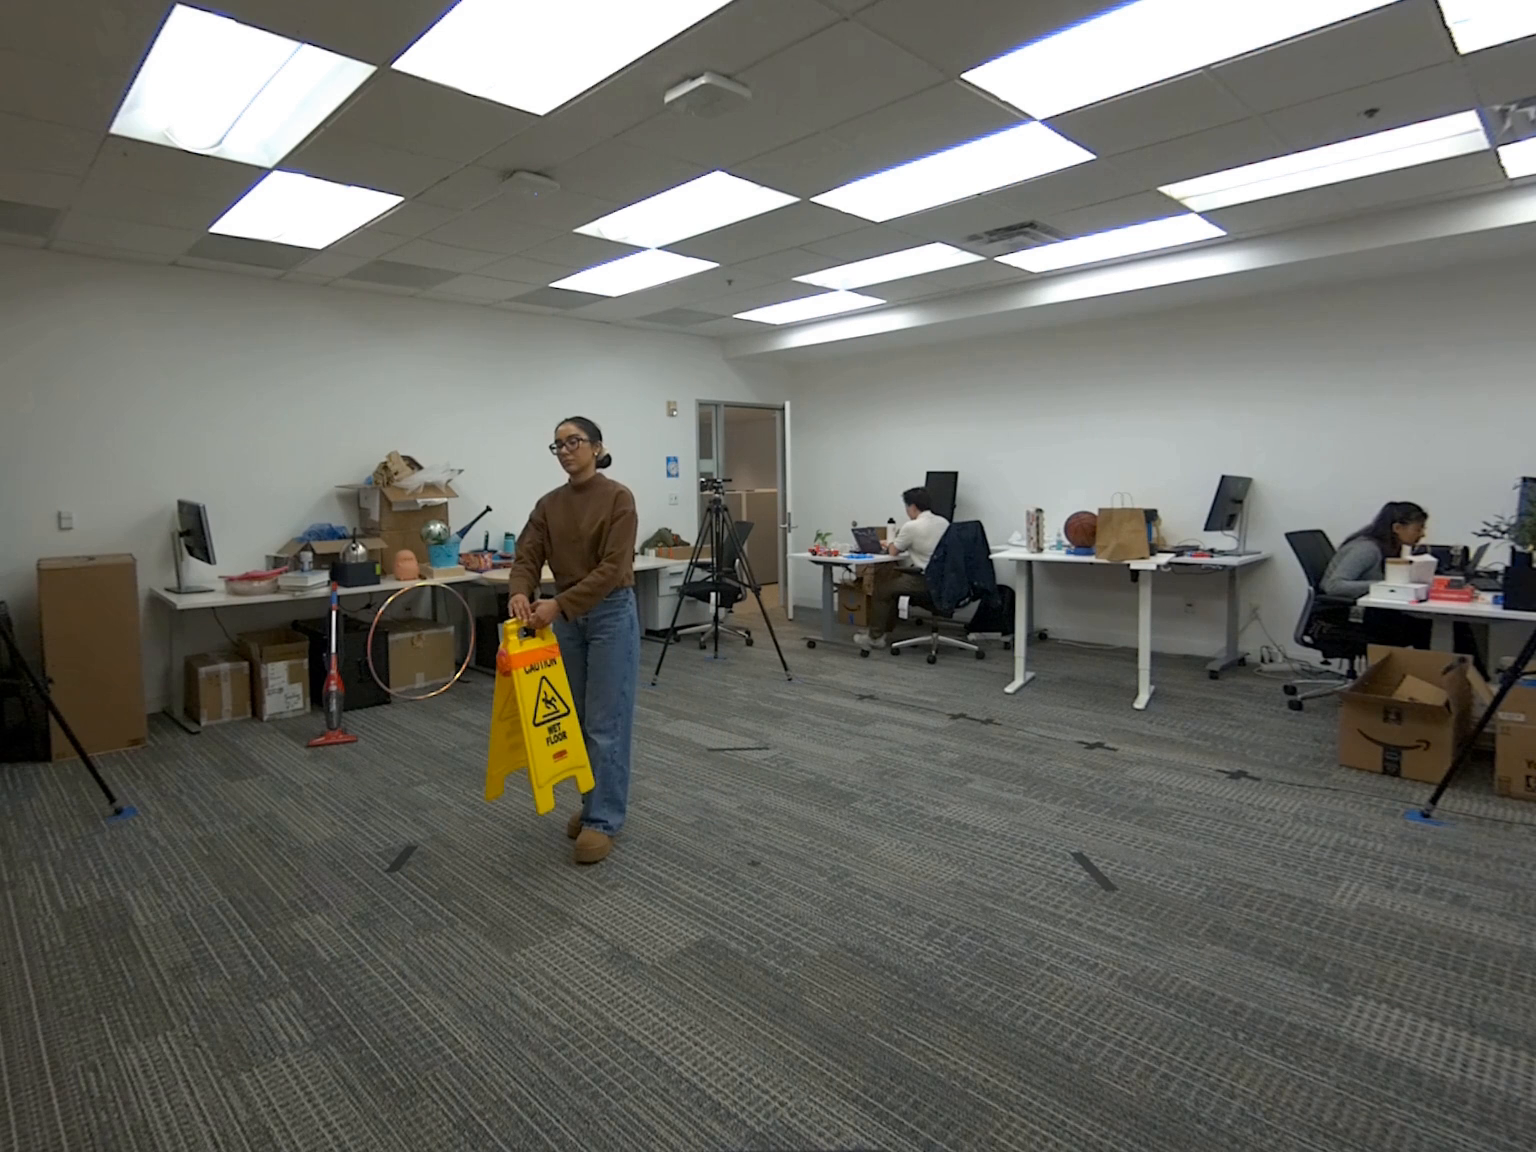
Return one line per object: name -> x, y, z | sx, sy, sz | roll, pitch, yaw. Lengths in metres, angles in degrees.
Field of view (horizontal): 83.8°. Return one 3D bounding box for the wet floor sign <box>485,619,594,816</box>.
wet floor sign -> -0.834, 0.465, 3.022 | 0.297, 0.643, 0.276 | 1, 6, 32
